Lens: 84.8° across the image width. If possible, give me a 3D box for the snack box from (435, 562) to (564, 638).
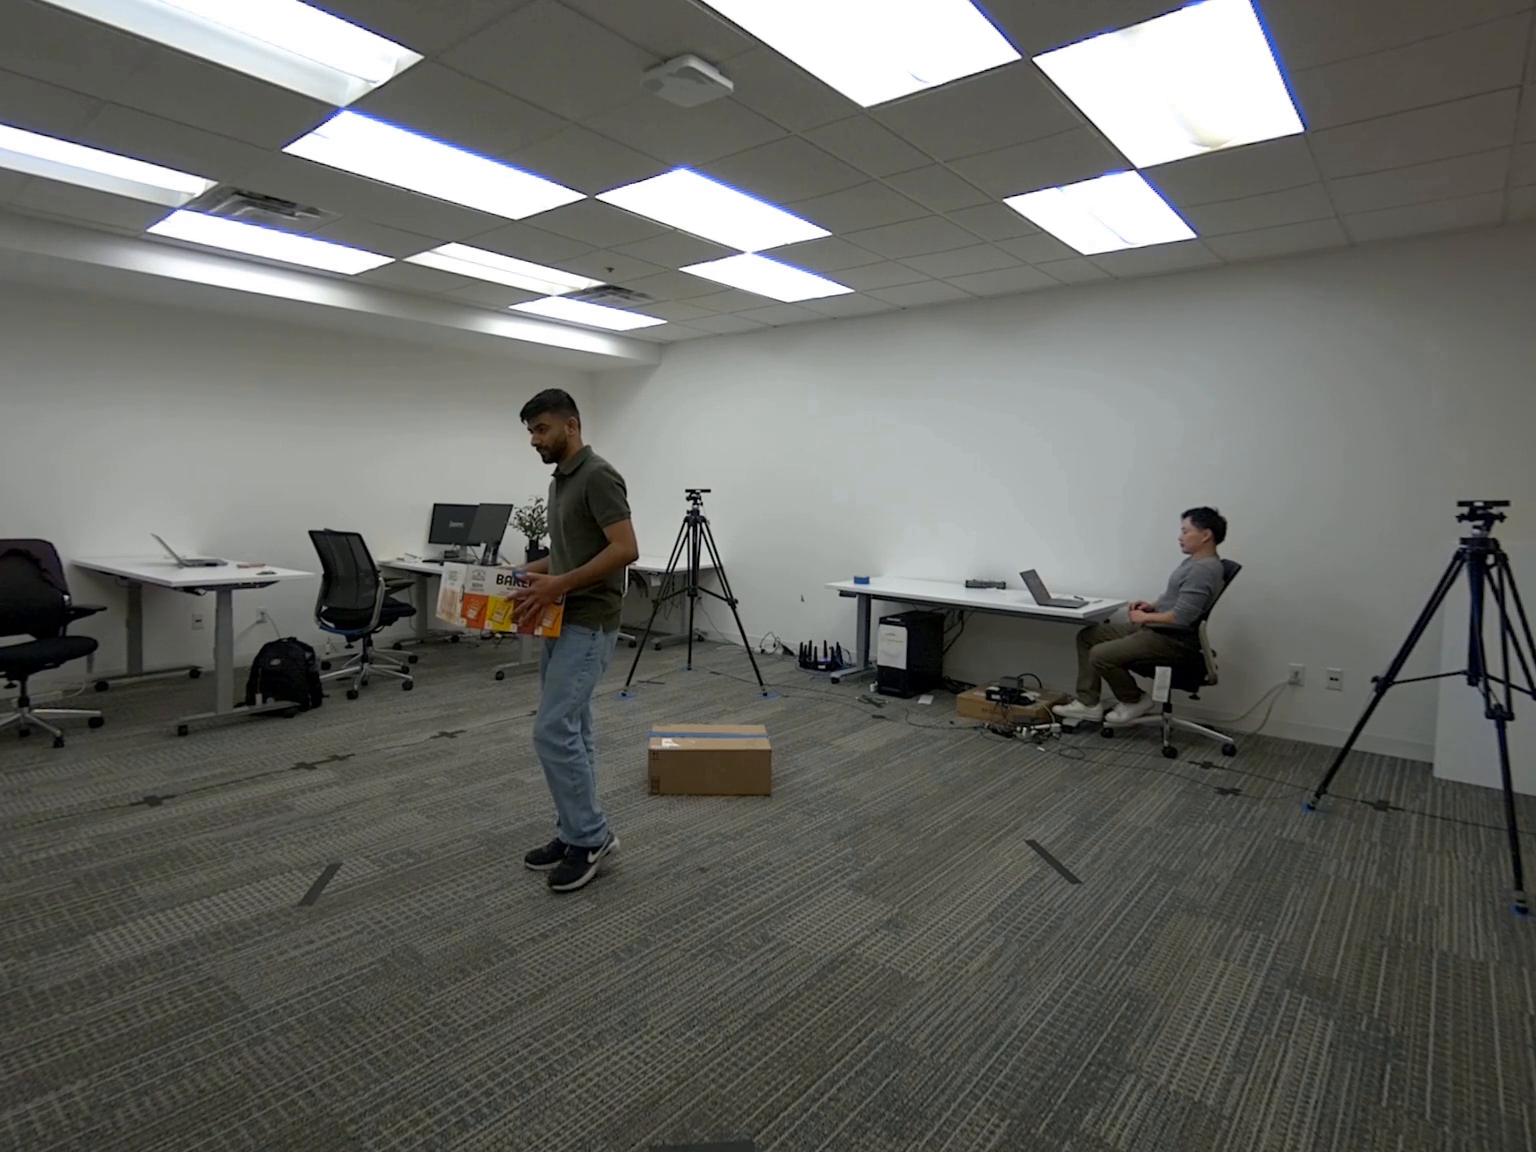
[{"bbox_3d":[-0.956,0.072,2.974,0.330,0.206,0.416,10,-3,-29],"label":"snack box"}]
